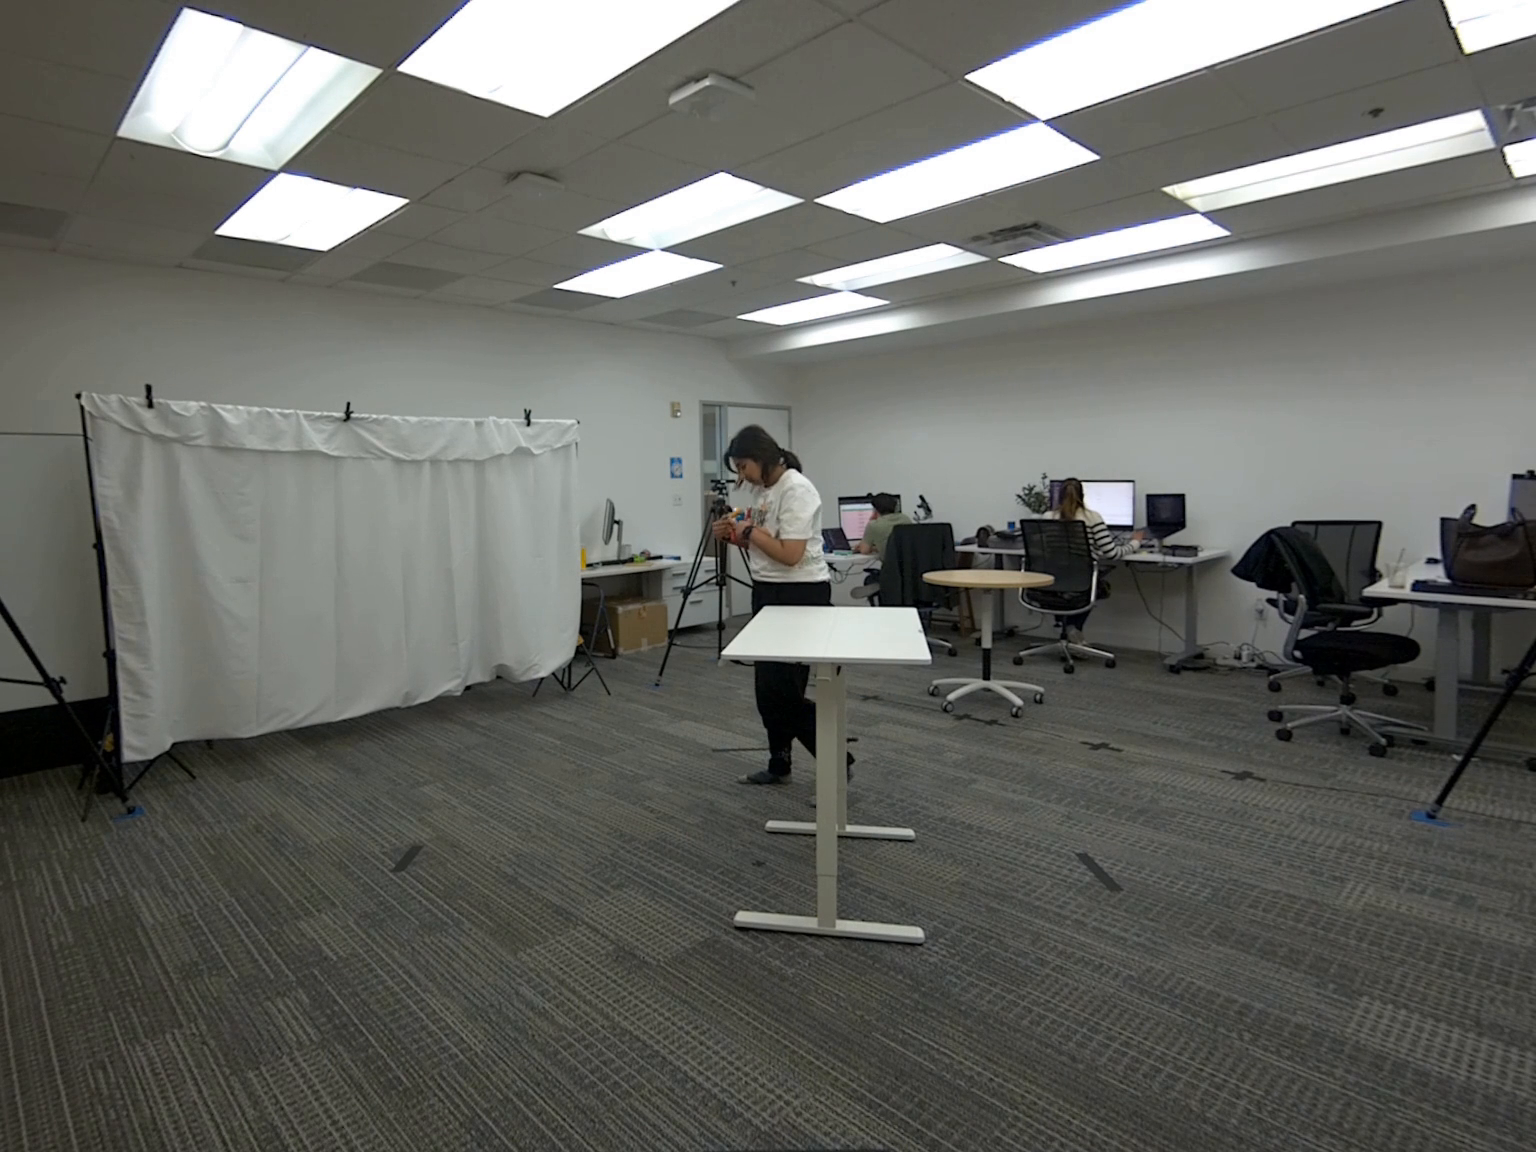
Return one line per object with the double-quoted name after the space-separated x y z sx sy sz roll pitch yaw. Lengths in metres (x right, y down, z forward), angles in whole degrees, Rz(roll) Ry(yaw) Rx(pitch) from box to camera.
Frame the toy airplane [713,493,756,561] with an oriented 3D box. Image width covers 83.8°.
-0.077 -0.205 3.955 0.250 0.156 0.260 20 34 -38 "toy airplane"
